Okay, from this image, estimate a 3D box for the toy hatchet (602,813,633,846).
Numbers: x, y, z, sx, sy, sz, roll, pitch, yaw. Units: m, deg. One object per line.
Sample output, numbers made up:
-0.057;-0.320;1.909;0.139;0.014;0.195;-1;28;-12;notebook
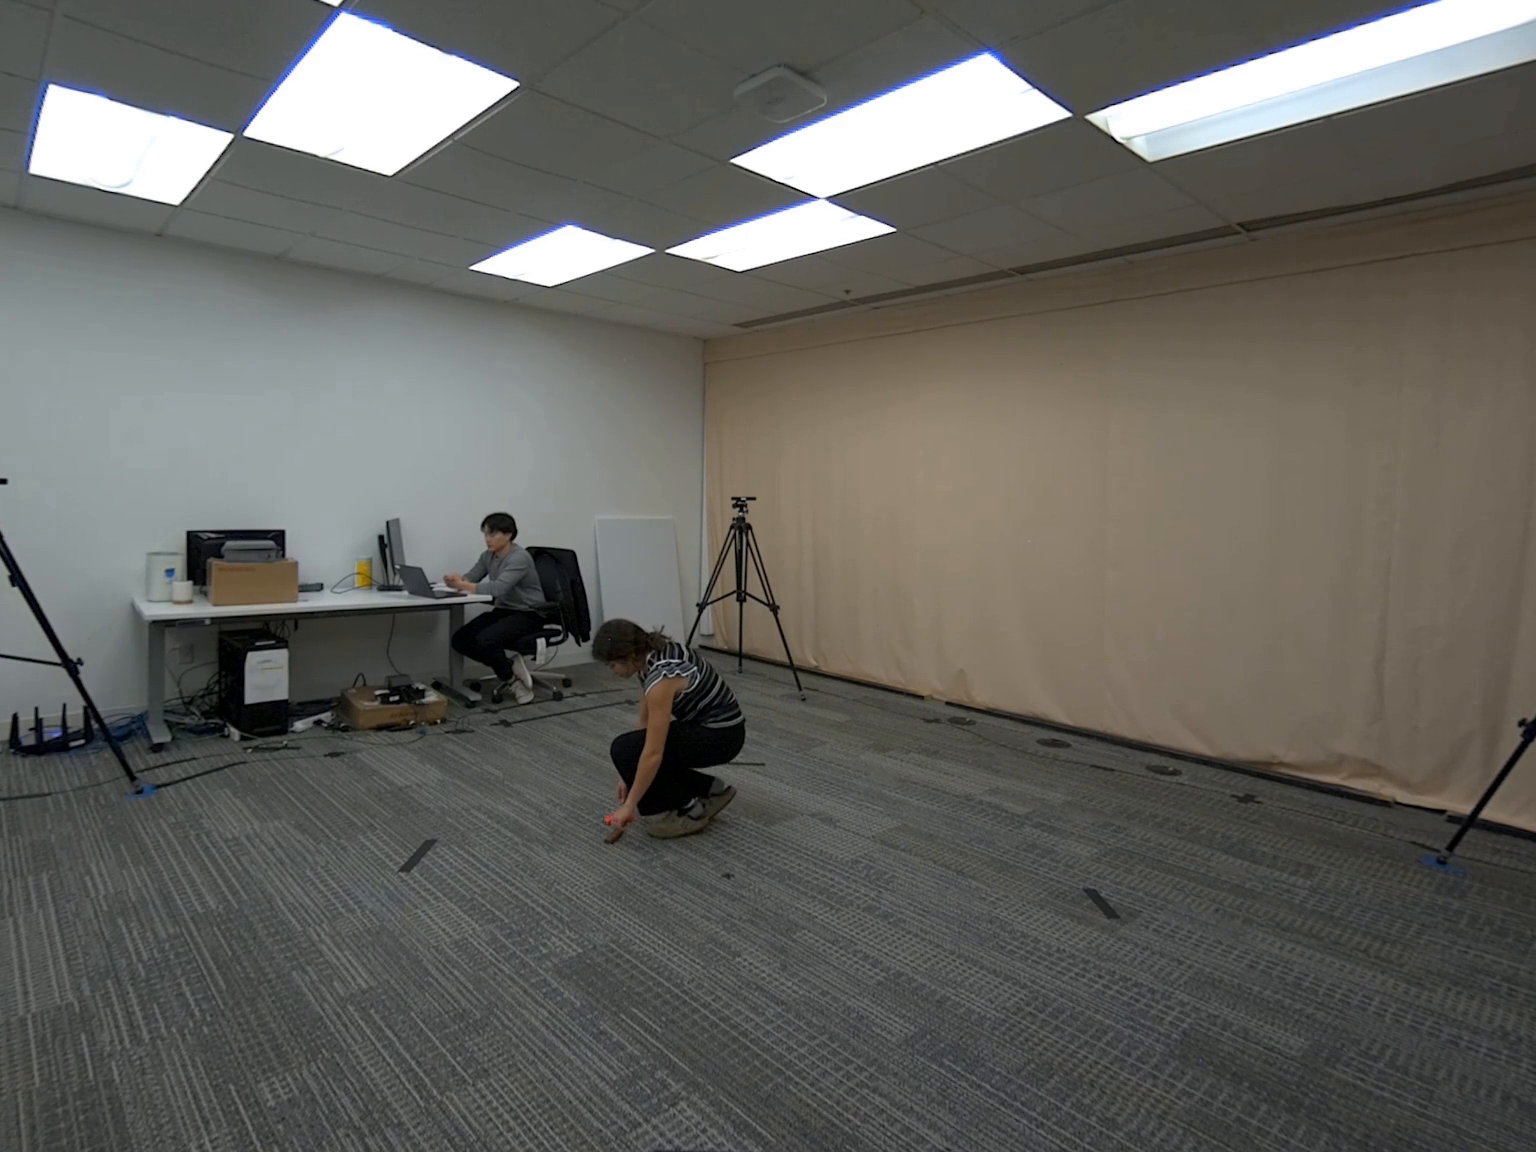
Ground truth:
-0.658;1.047;3.499;0.132;0.029;0.268;4;7;11;toy hatchet
